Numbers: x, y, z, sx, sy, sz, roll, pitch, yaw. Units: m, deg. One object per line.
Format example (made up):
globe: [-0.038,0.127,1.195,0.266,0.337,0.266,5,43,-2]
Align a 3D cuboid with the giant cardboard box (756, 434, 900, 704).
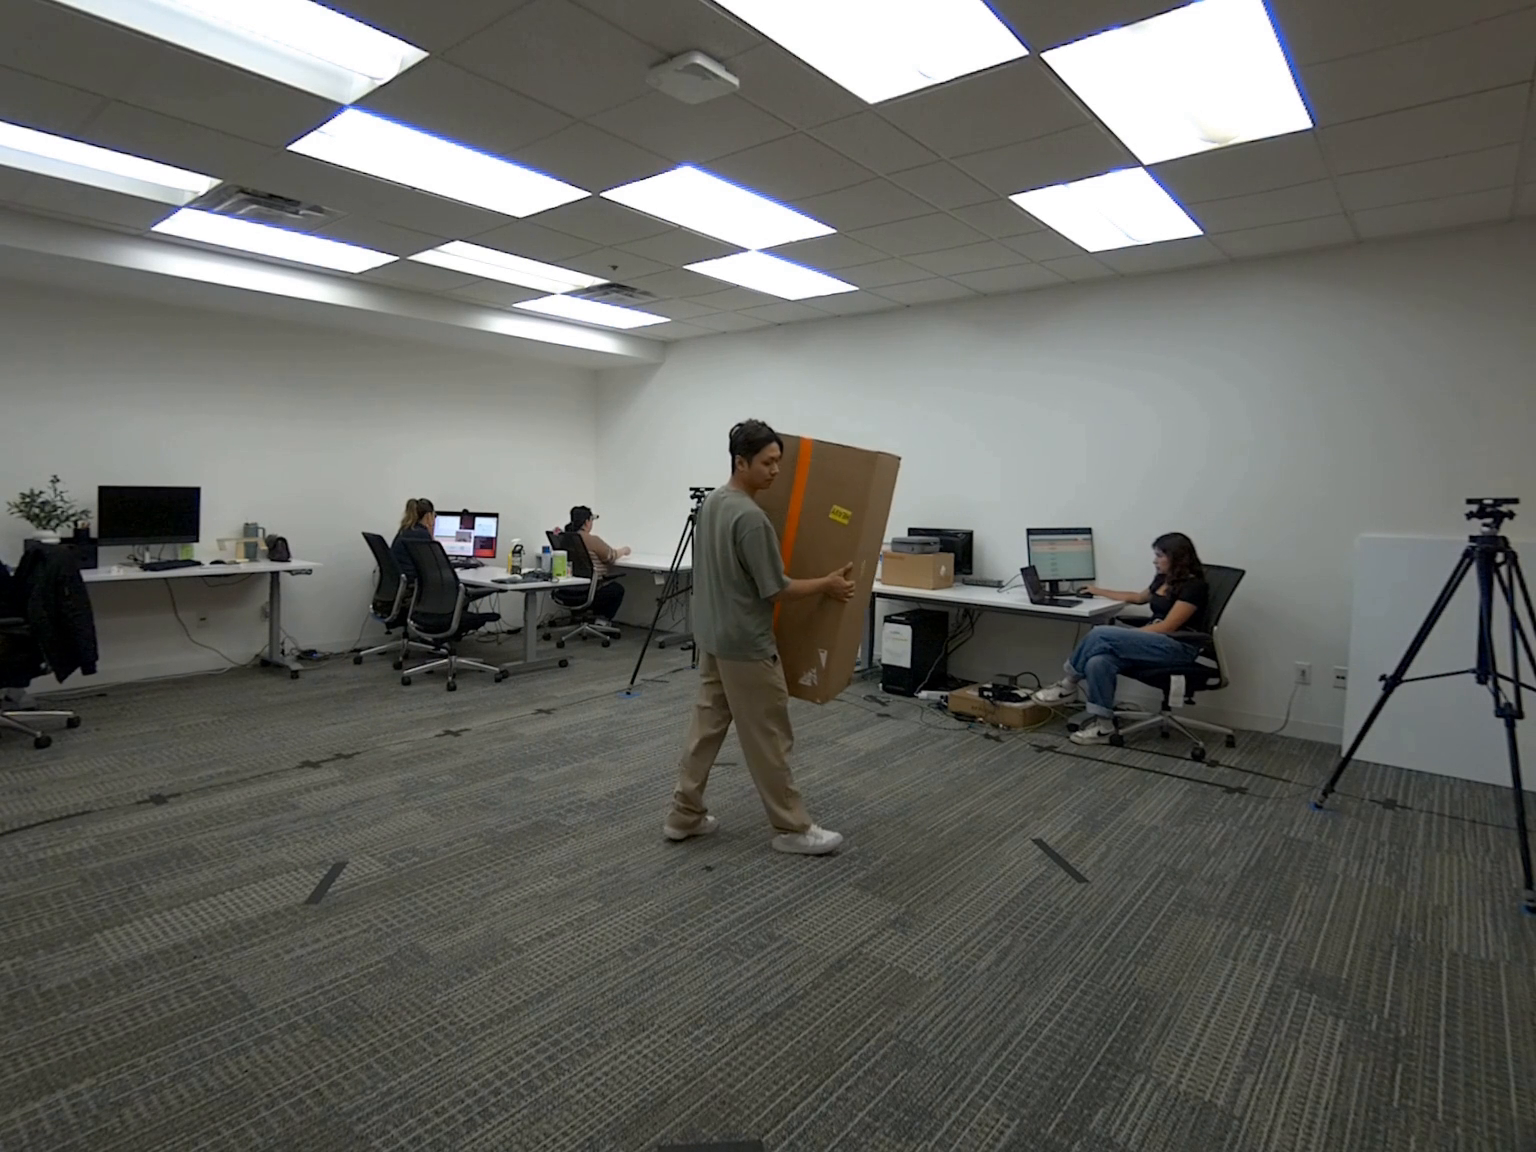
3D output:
giant cardboard box: [0.124,-0.072,3.589,0.593,1.020,0.417,14,8,21]
